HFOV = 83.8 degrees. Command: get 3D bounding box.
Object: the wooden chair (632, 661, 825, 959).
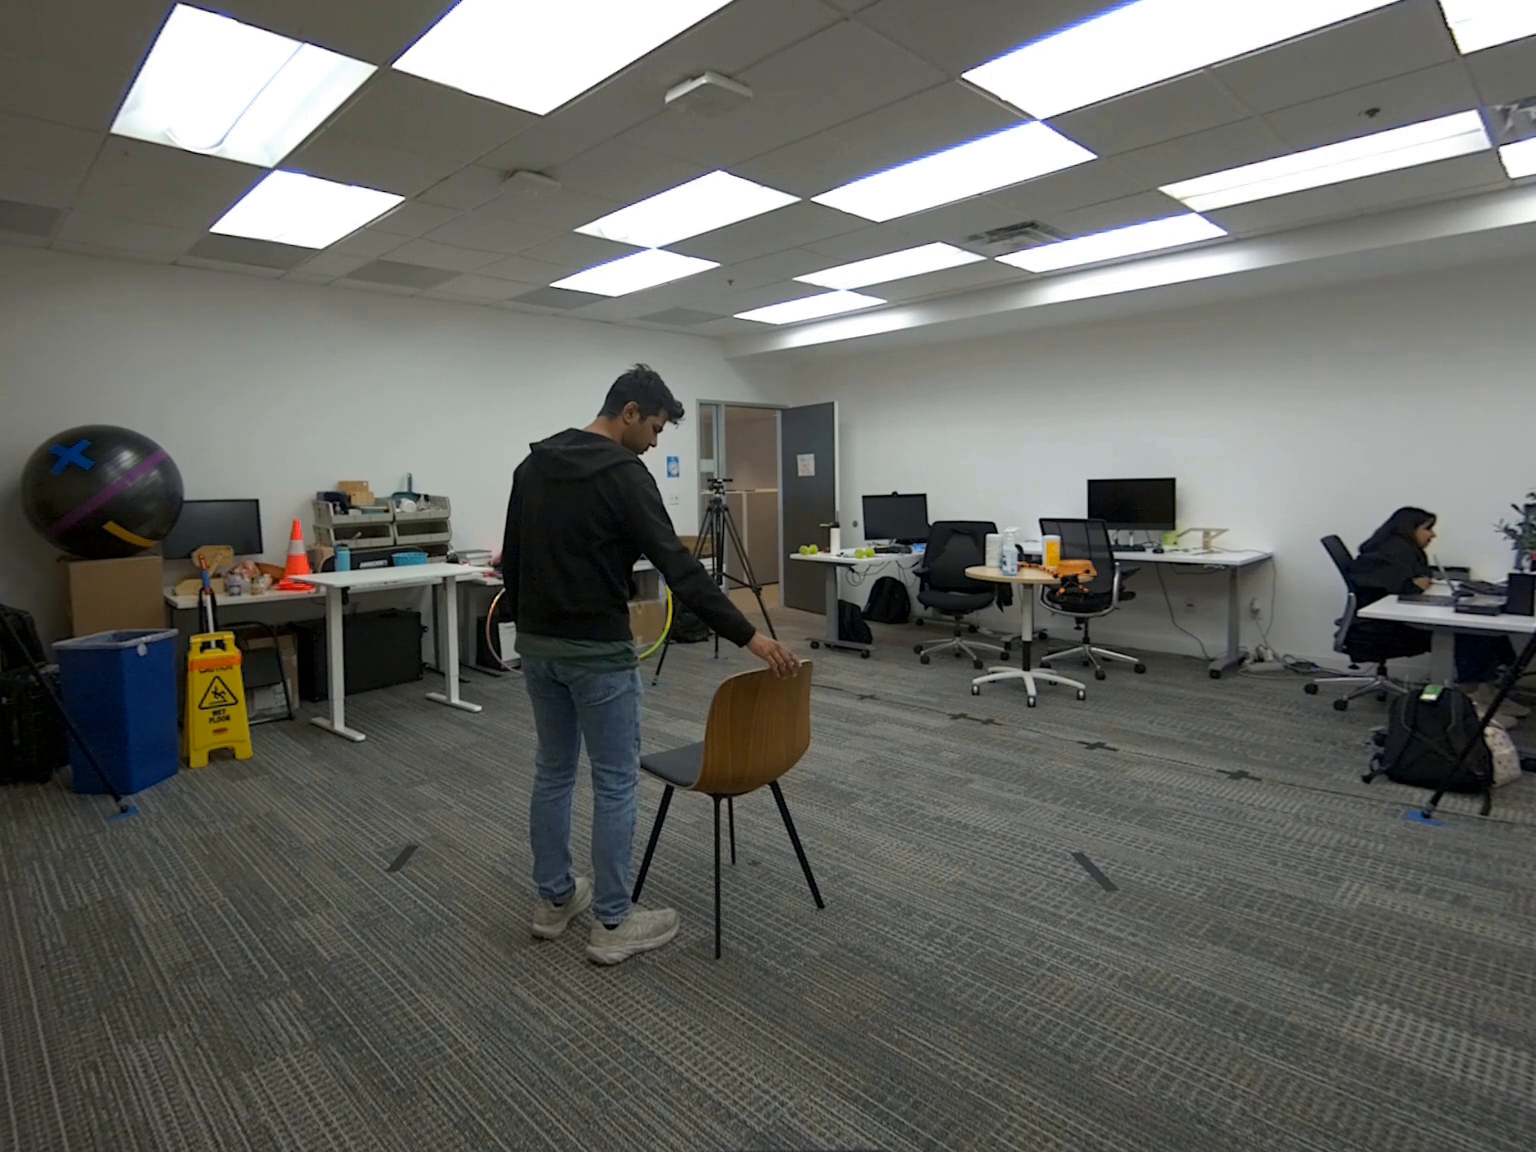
[{"bbox_3d":[-0.140,0.655,2.784,0.465,0.871,0.541,-5,10,-41],"label":"wooden chair"}]
